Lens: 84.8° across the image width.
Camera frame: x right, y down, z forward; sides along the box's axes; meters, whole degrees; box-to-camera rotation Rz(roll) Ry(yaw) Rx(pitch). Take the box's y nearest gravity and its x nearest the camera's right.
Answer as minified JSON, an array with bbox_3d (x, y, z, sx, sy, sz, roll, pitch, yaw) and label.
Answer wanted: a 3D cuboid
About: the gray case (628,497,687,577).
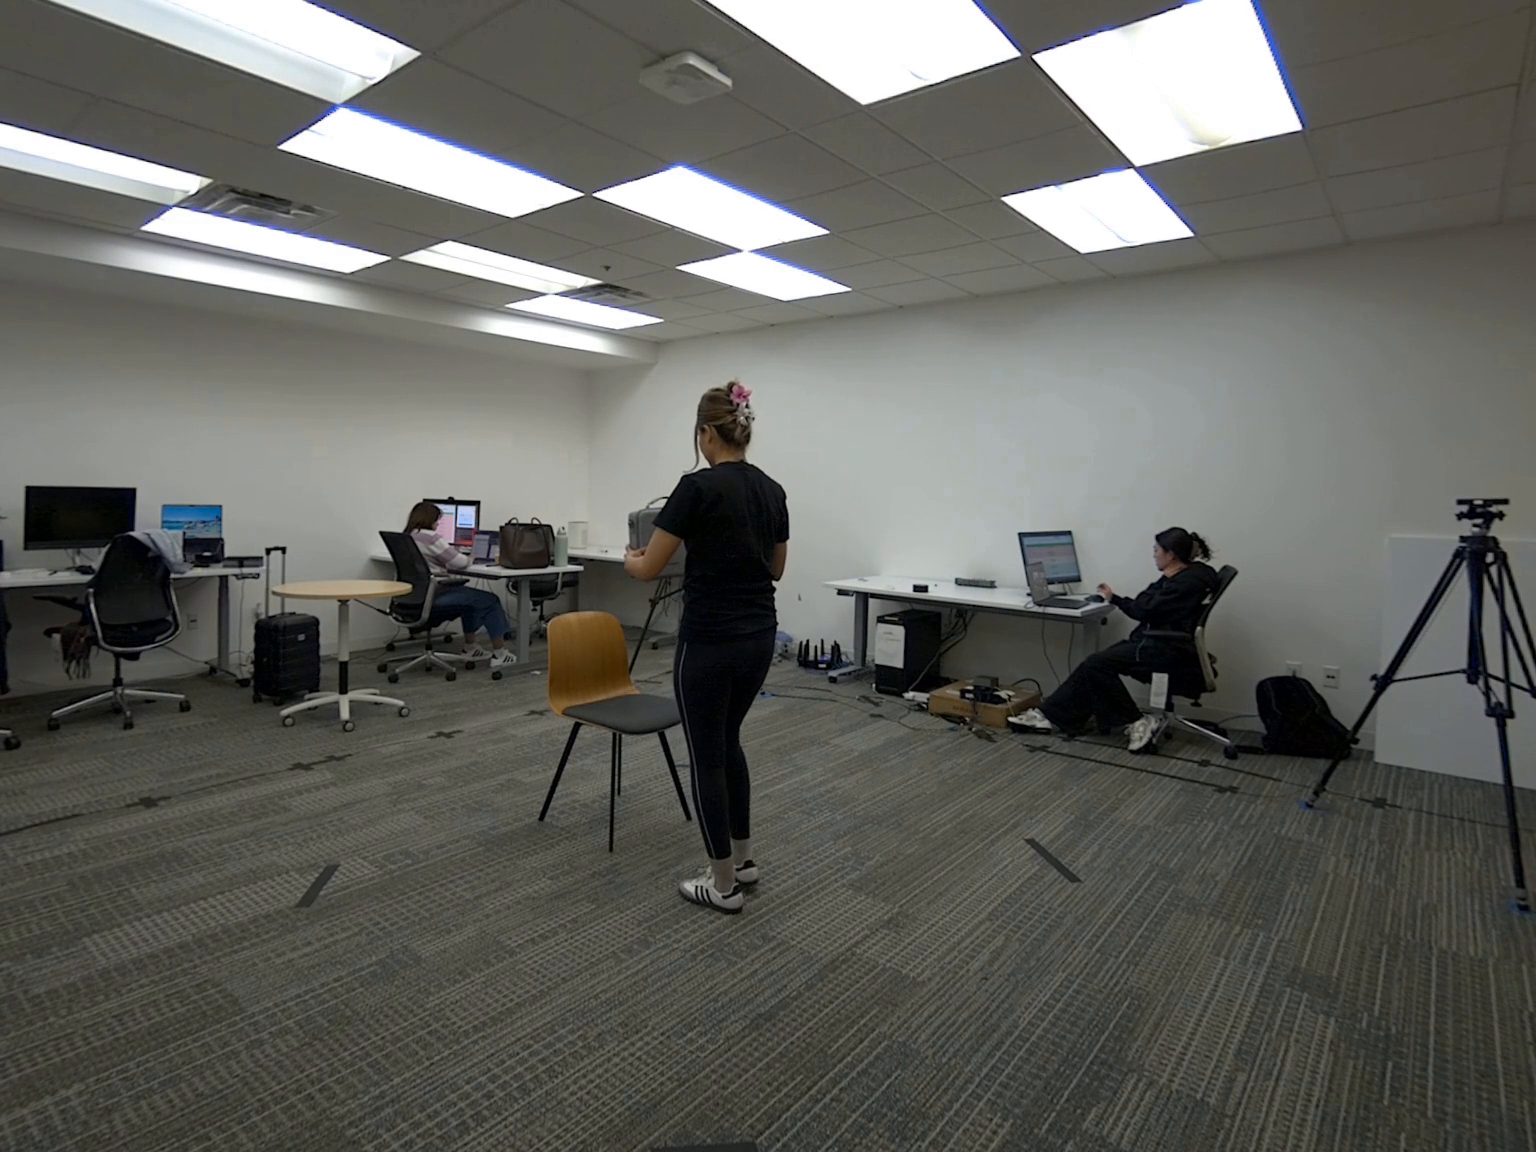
[{"bbox_3d":[-0.389,-0.128,3.088,0.249,0.260,0.107,-5,3,-38],"label":"gray case"}]
